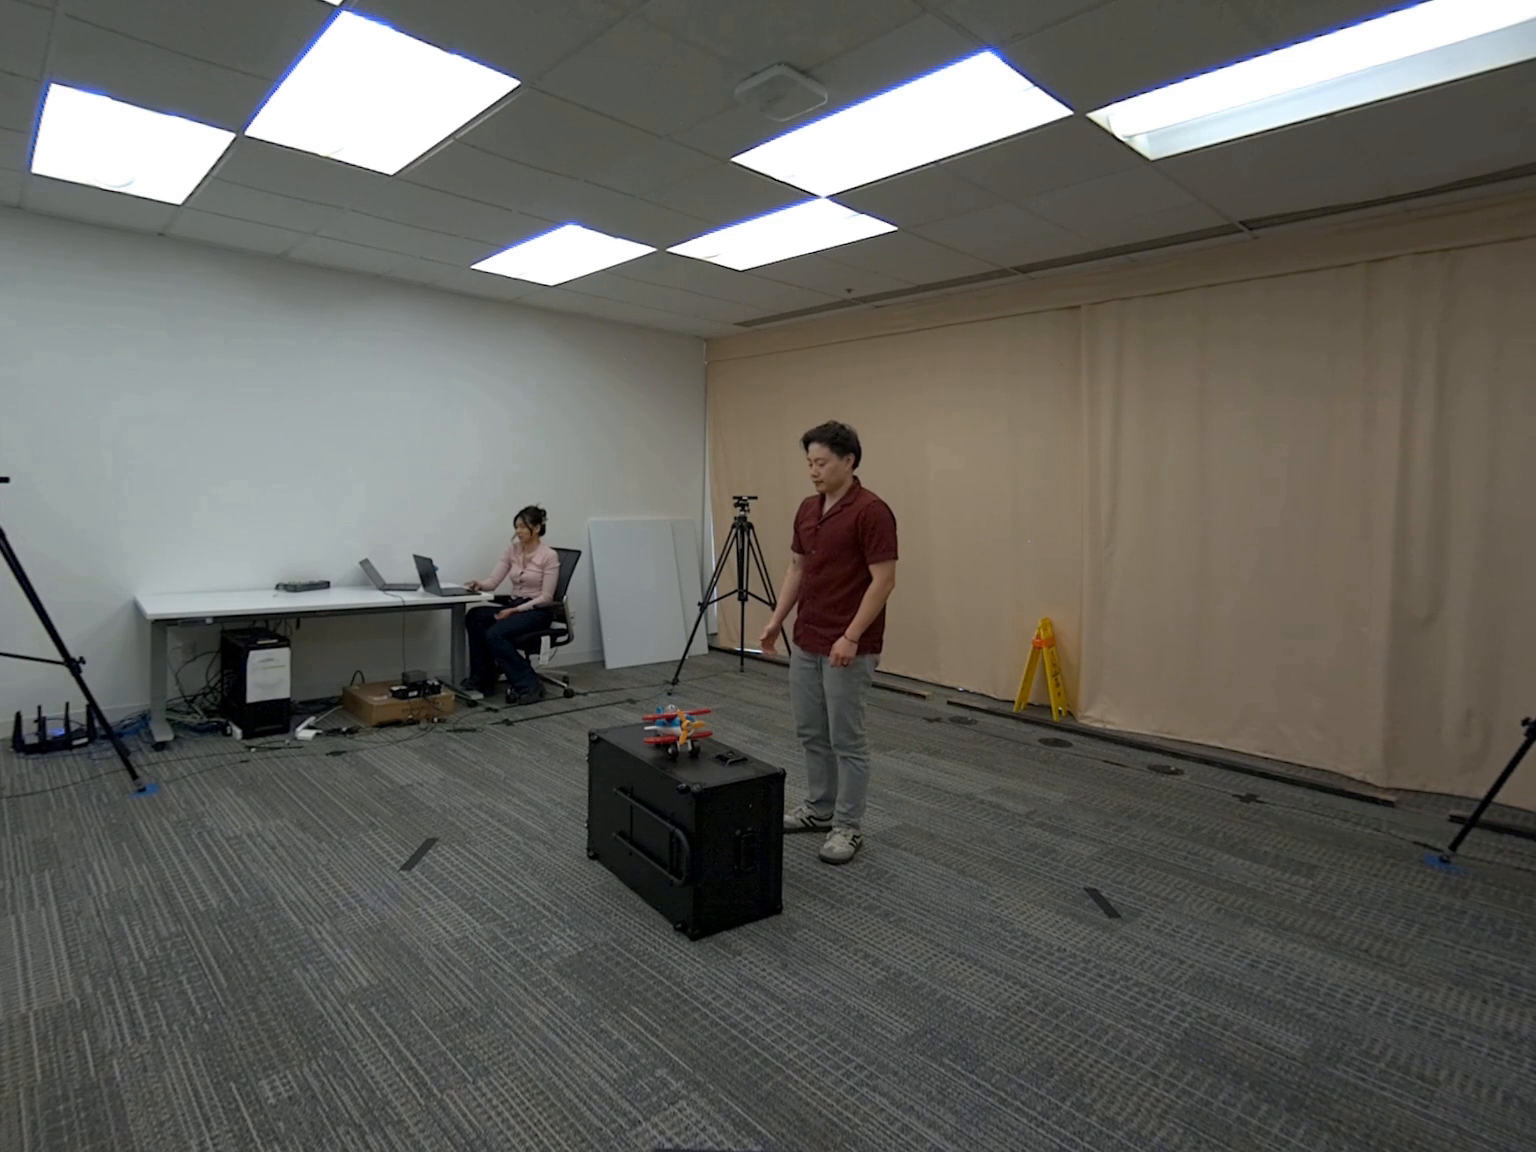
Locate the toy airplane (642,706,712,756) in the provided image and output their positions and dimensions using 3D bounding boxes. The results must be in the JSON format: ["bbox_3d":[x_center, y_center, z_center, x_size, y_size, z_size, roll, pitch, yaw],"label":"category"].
[{"bbox_3d":[-0.360,0.548,2.996,0.265,0.156,0.246,6,6,31],"label":"toy airplane"}]
